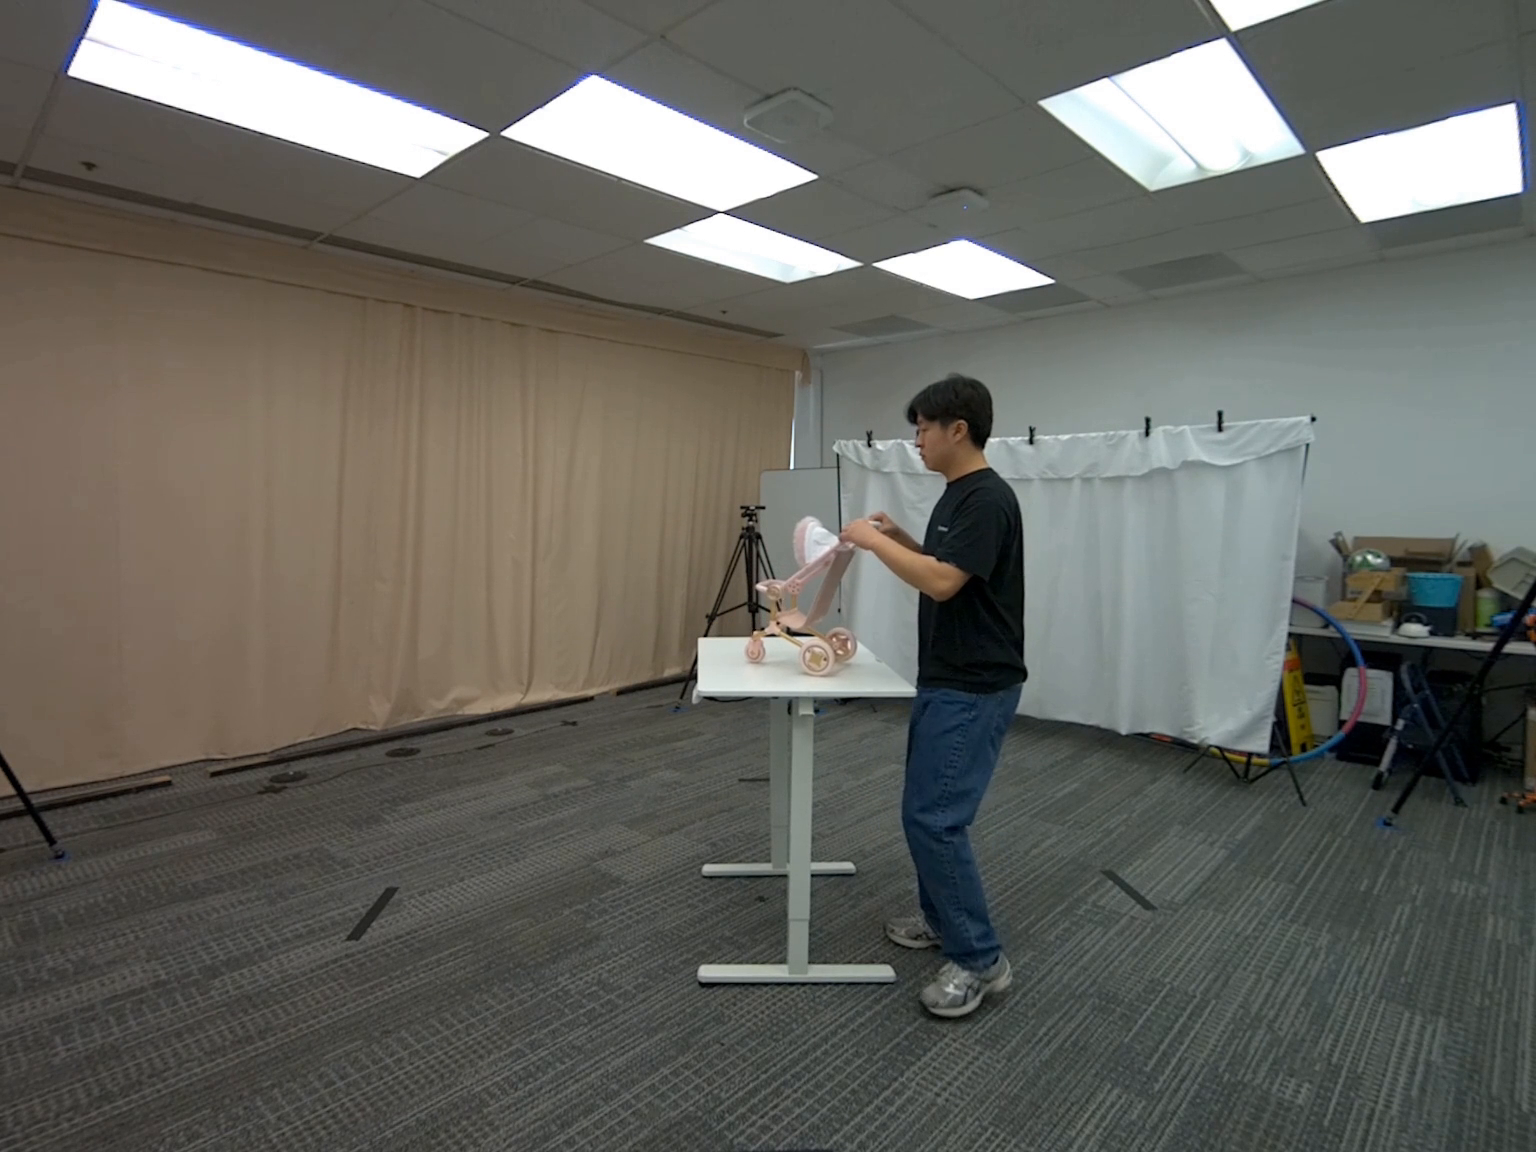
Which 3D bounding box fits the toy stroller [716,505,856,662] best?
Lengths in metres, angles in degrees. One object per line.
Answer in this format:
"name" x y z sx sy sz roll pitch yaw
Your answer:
"toy stroller" 0.128 0.061 2.636 0.351 0.533 0.274 15 10 27
